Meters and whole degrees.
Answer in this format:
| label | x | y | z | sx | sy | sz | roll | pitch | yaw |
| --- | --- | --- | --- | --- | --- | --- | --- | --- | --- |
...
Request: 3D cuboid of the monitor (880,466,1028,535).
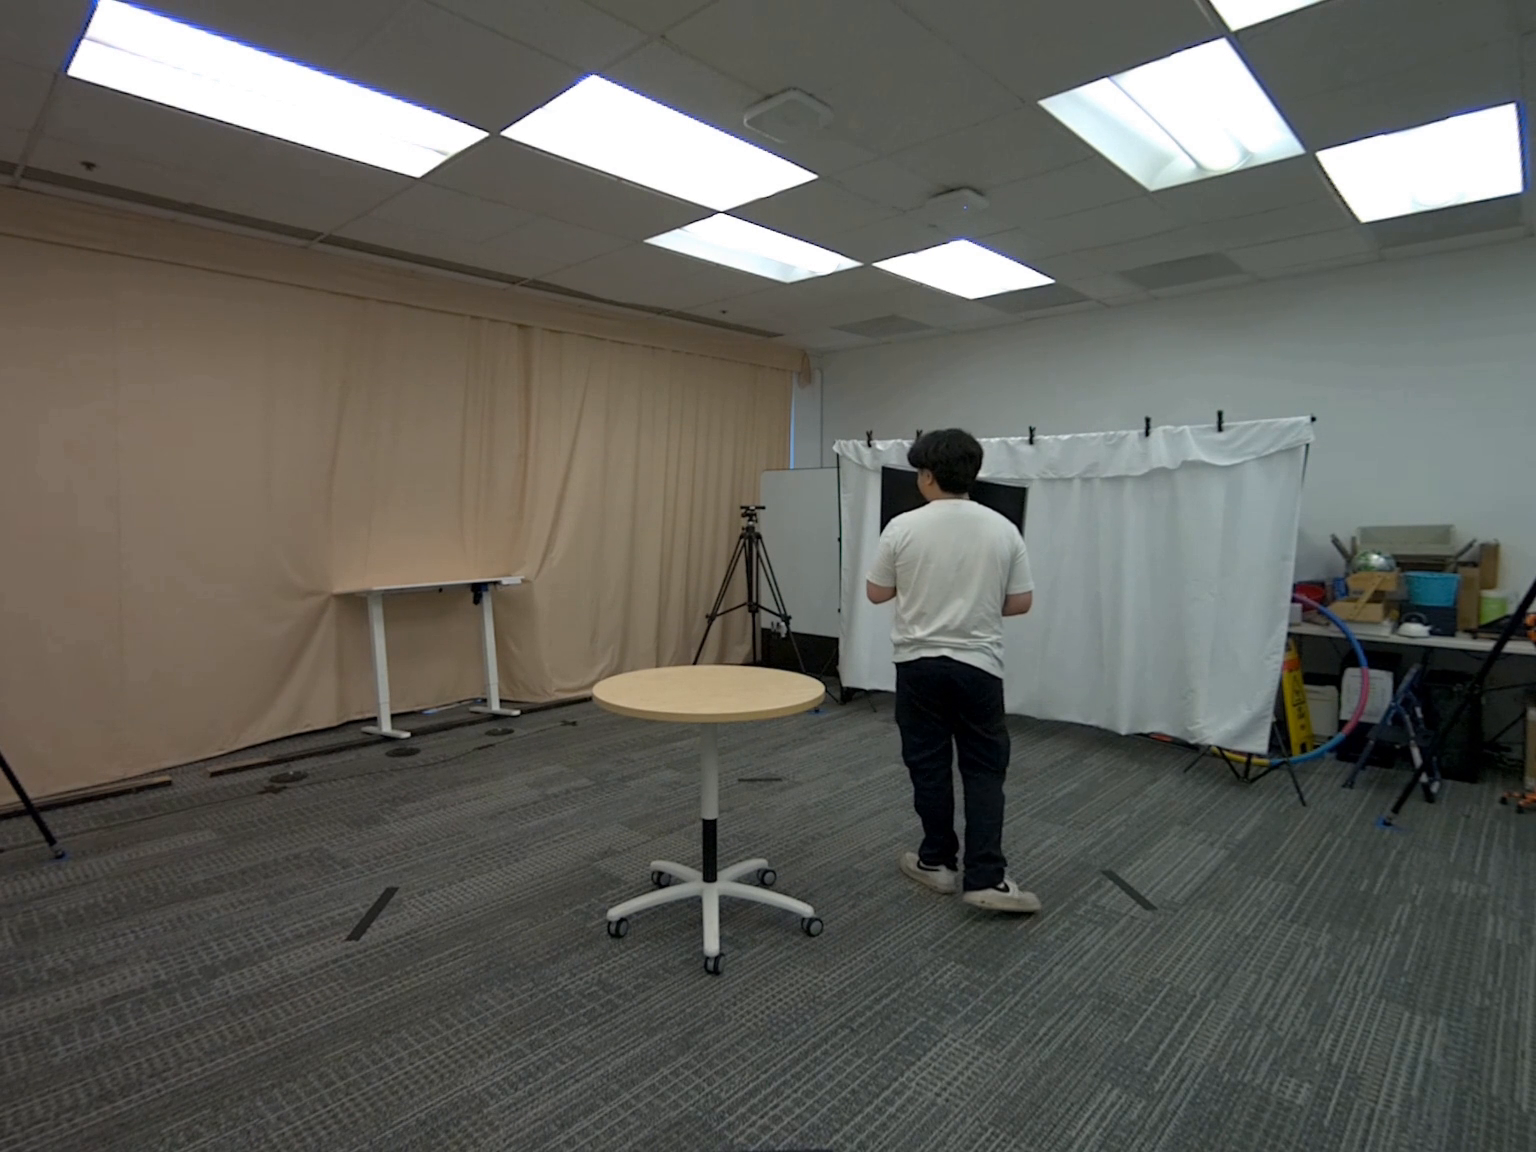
| label | x | y | z | sx | sy | sz | roll | pitch | yaw |
| --- | --- | --- | --- | --- | --- | --- | --- | --- | --- |
| monitor | 0.671 | -0.118 | 3.201 | 0.583 | 0.547 | 0.206 | 14 | 25 | 30 |
